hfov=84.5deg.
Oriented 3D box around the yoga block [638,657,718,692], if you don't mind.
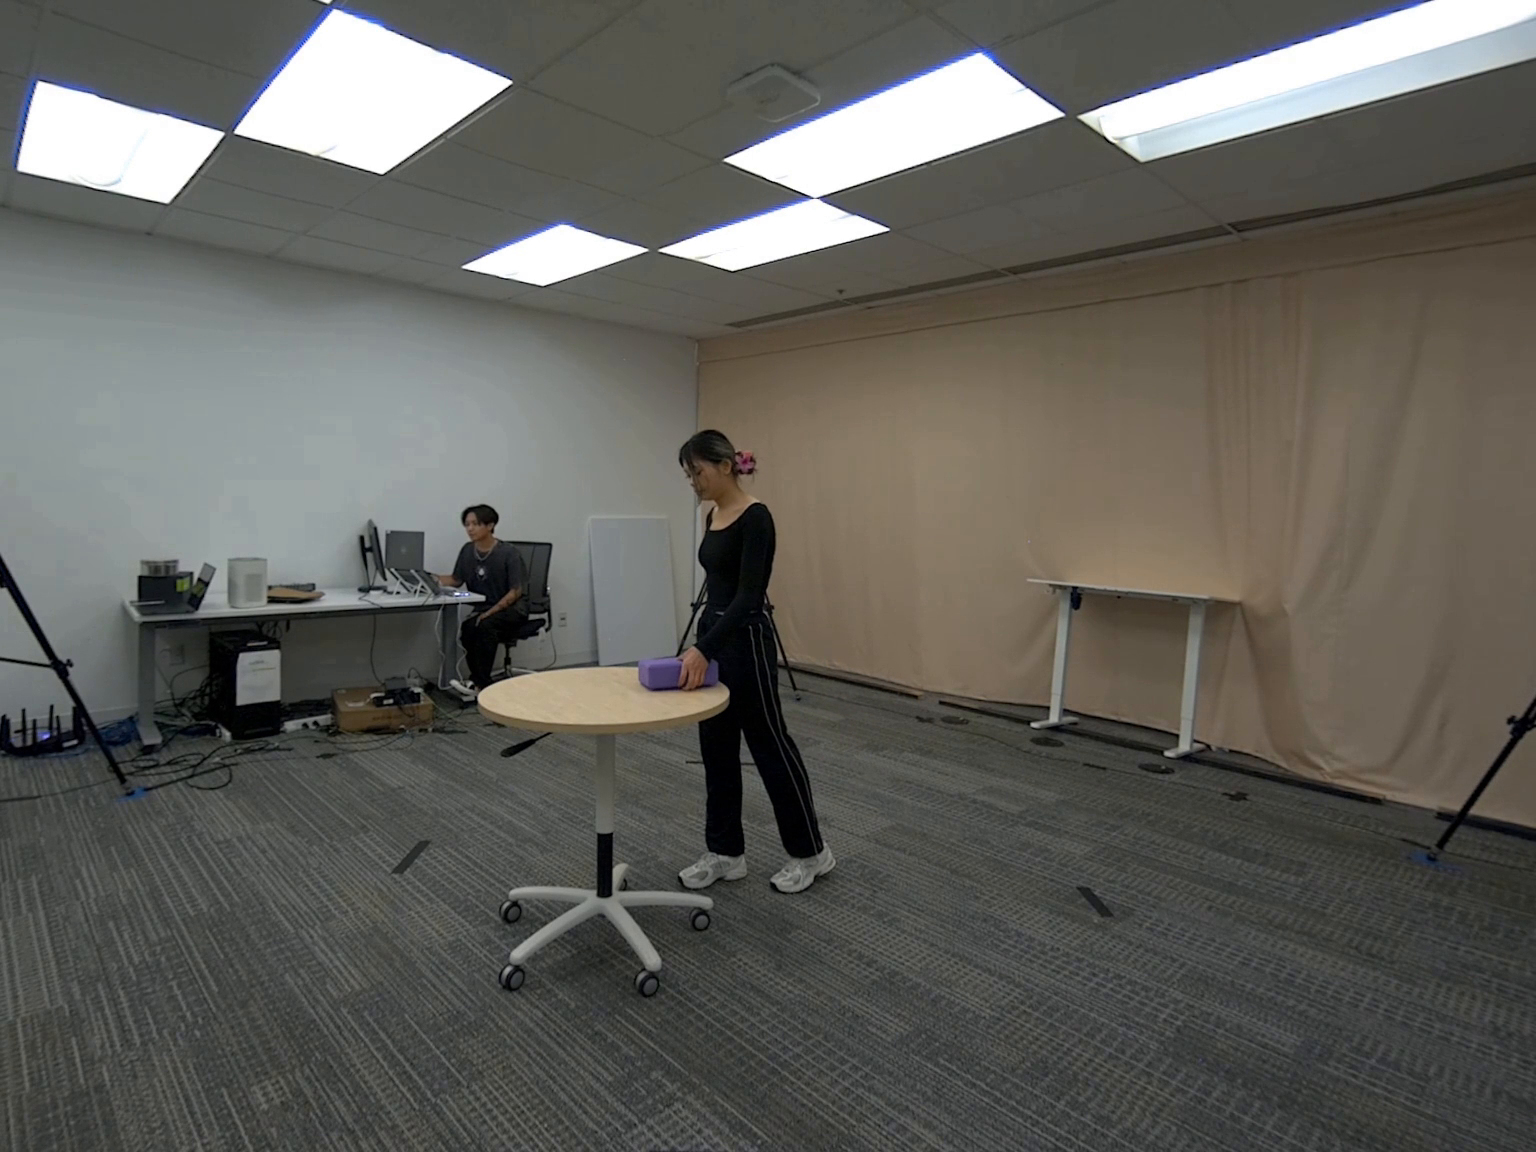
[{"bbox_3d":[-0.302,0.313,2.702,0.226,0.076,0.151,-2,1,-17],"label":"yoga block"}]
